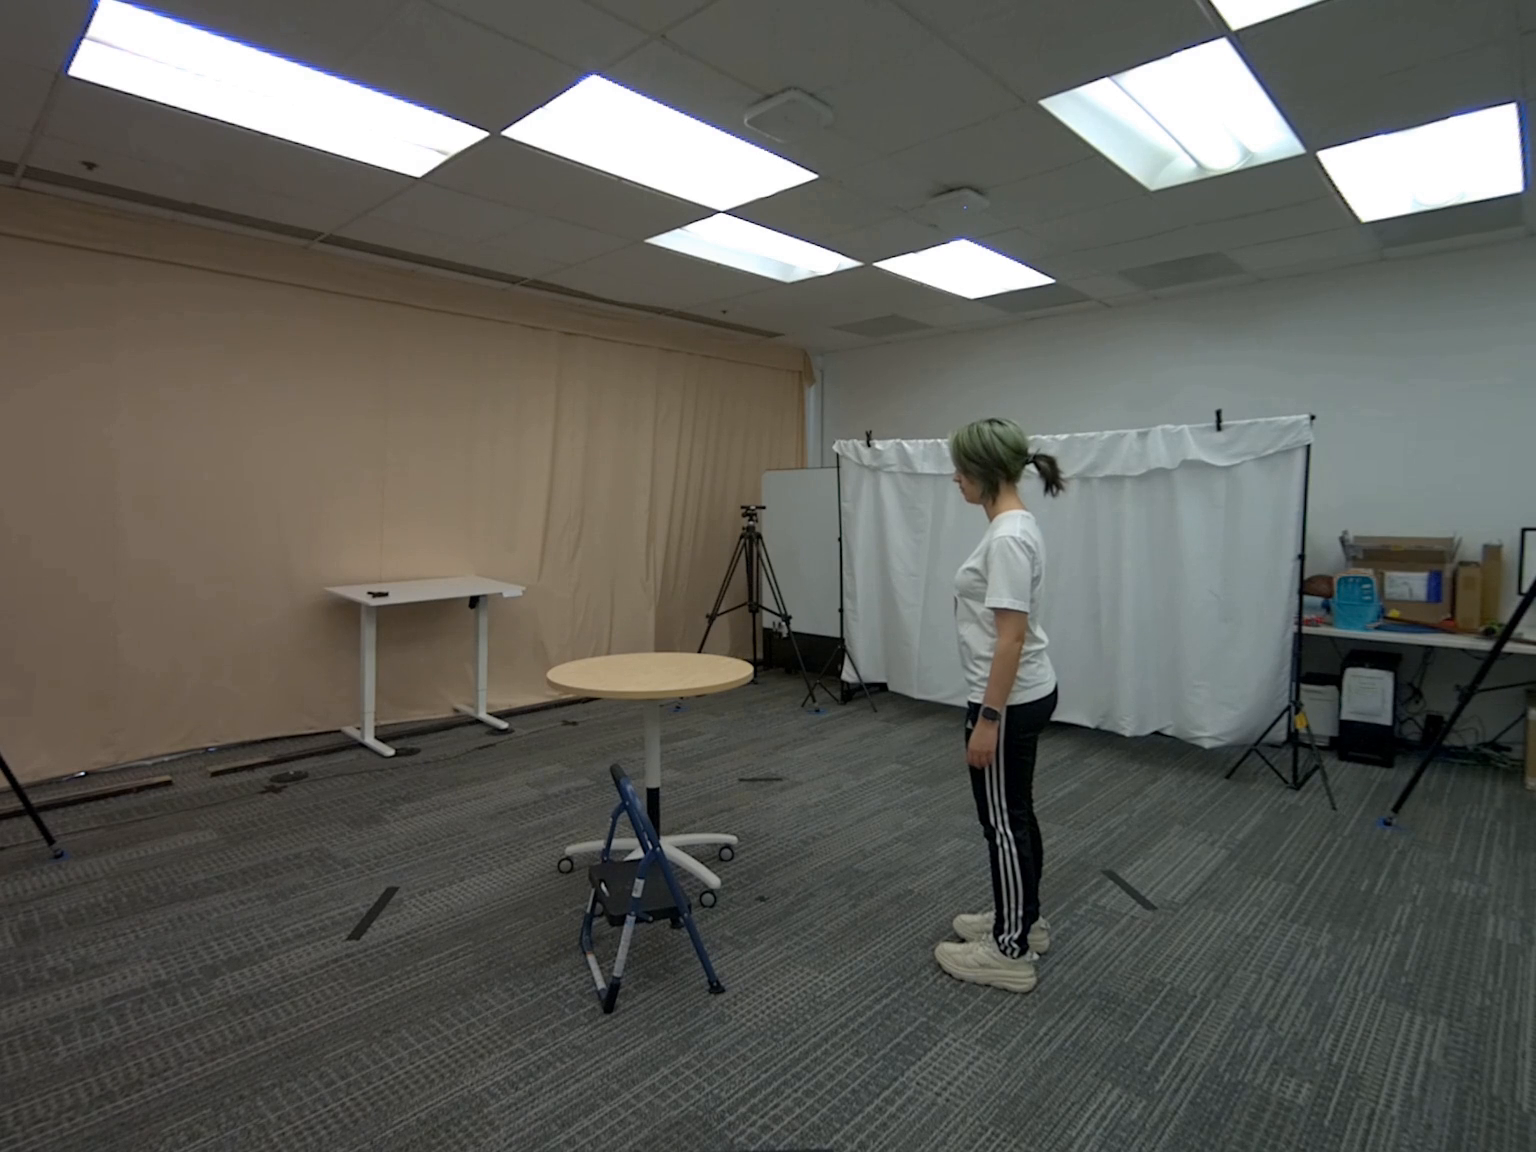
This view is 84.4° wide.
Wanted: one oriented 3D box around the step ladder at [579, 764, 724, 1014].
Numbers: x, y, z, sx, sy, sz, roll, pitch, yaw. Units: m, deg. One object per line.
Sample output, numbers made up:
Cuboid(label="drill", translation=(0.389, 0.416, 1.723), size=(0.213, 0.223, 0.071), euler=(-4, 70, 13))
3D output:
Cuboid(label="step ladder", translation=(-0.369, 0.883, 2.538), size=(0.342, 0.605, 0.440), euler=(-2, 3, -22))
